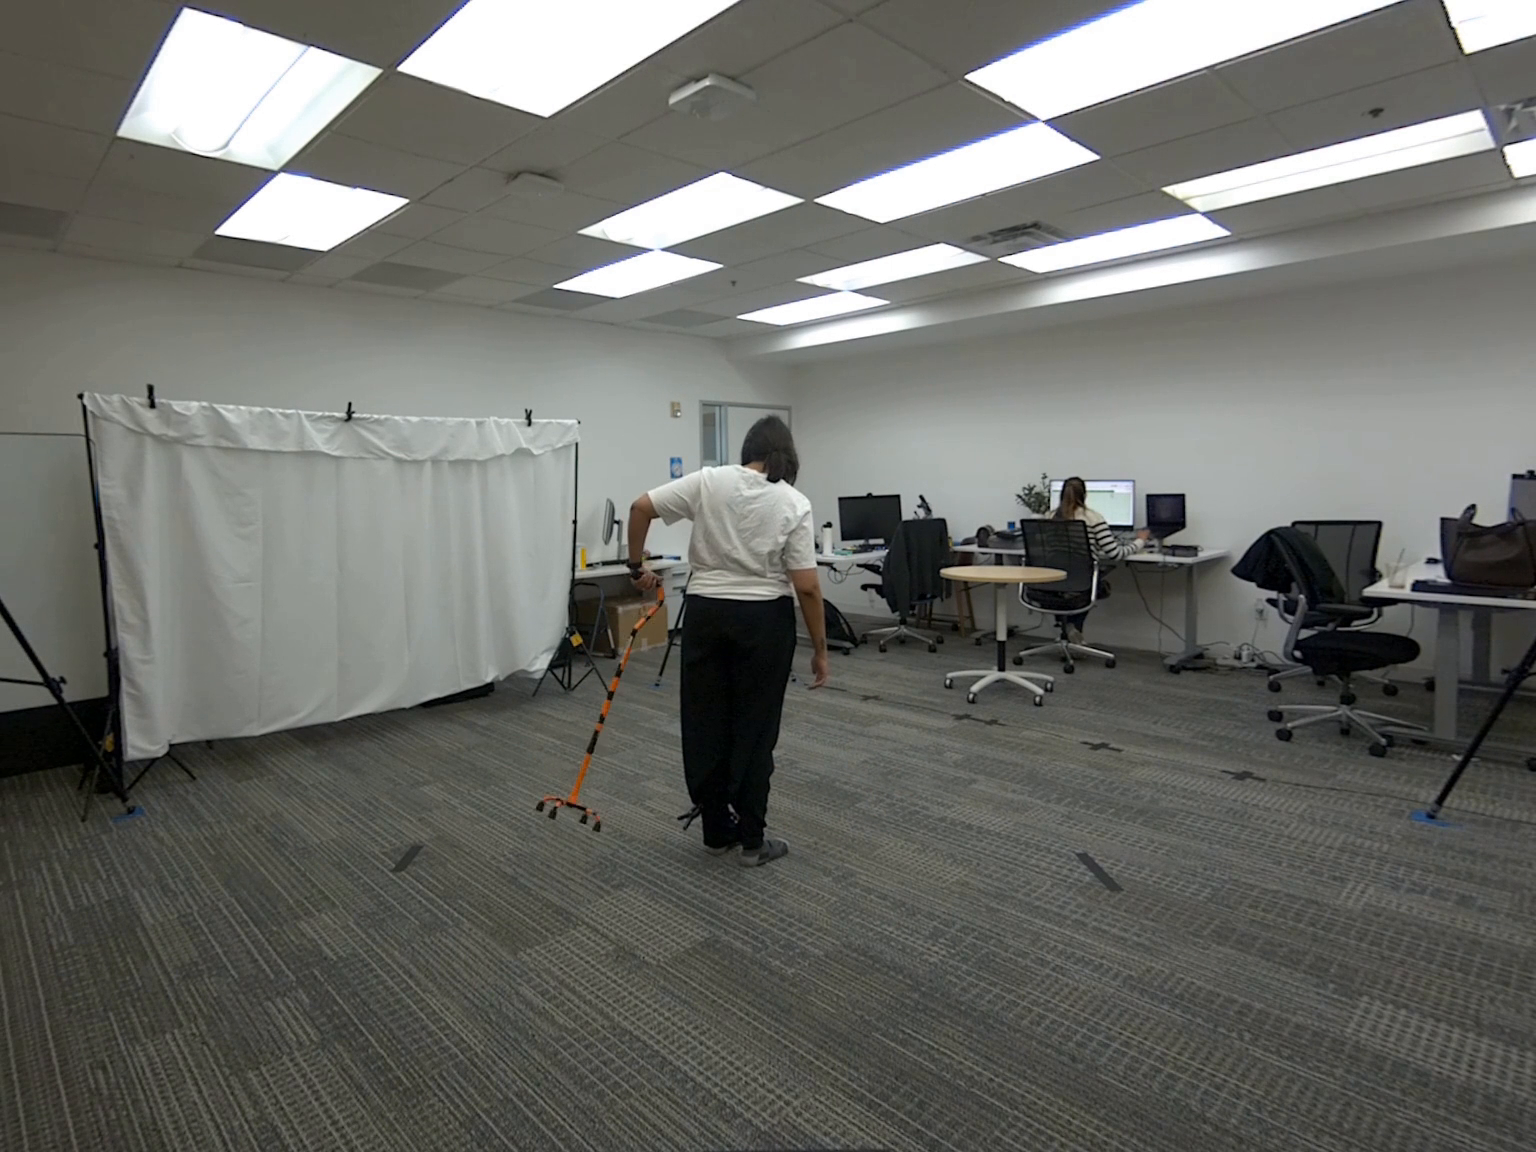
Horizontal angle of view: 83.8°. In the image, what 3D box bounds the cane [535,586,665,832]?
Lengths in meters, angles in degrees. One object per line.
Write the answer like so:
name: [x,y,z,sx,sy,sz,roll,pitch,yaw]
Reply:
cane: [-0.563,0.431,3.090,0.200,0.915,0.155,24,-16,-29]
